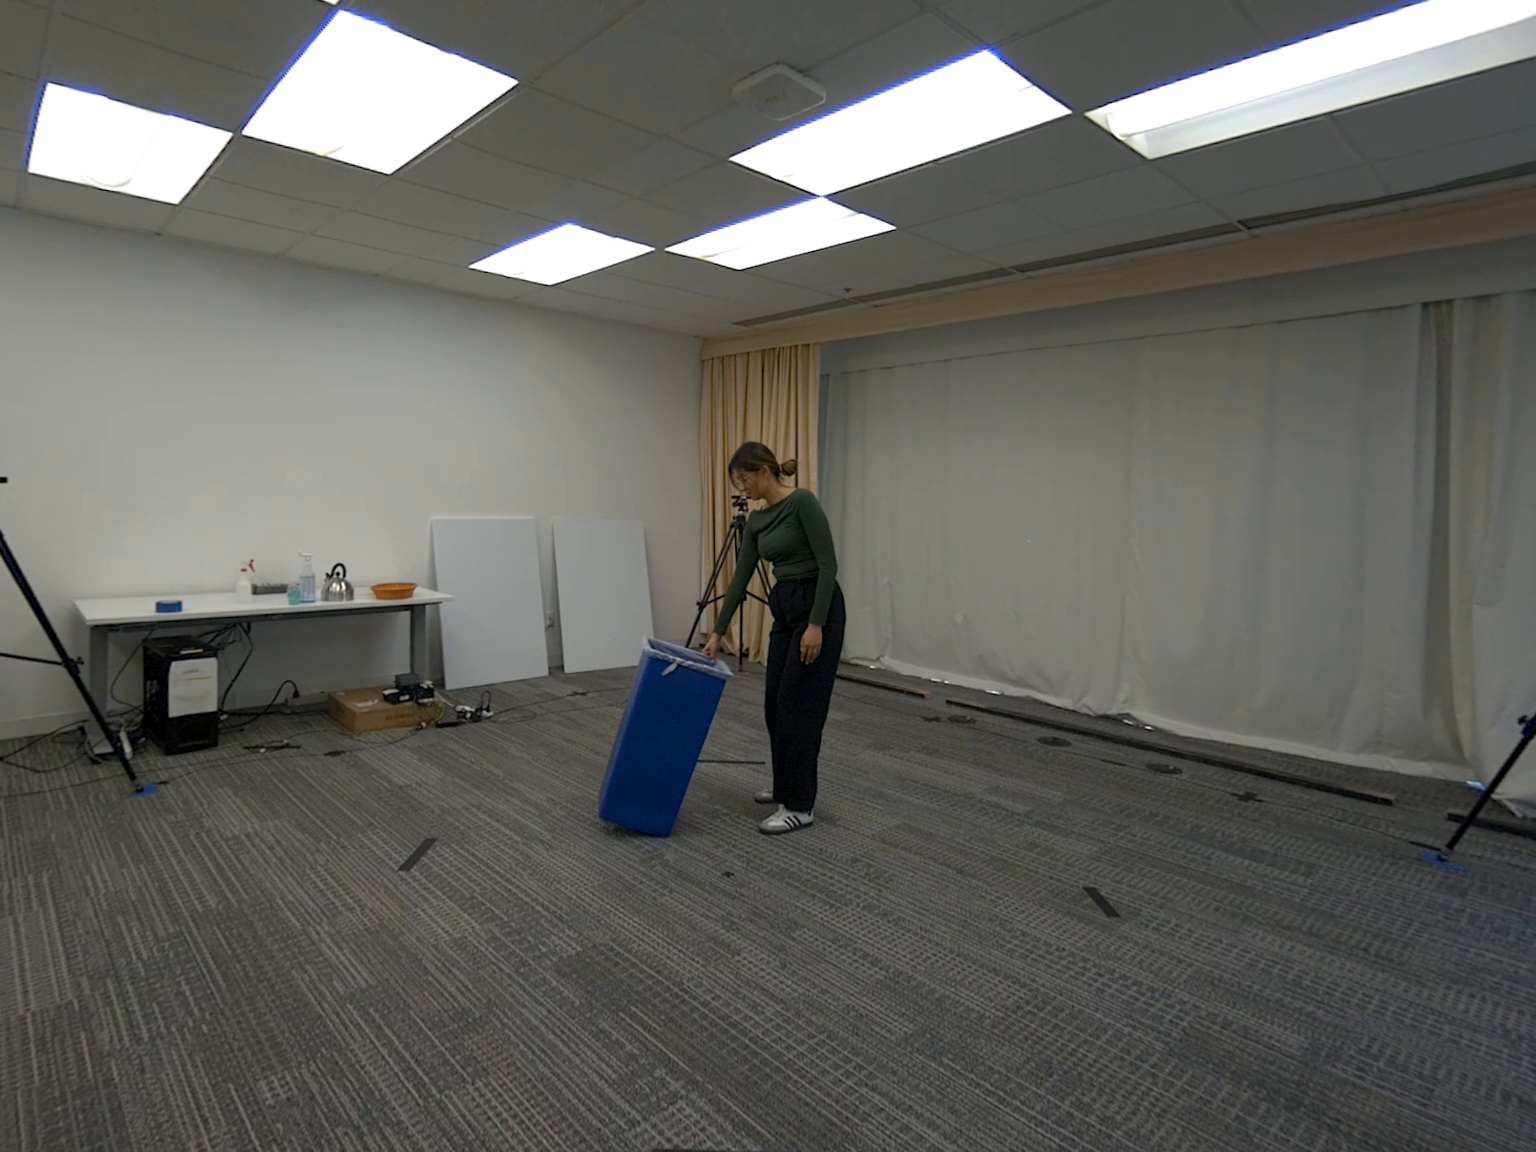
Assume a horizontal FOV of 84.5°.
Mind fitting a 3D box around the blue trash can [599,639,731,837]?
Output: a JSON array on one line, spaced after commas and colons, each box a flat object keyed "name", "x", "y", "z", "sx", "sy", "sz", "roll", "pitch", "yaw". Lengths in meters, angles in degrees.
[{"name": "blue trash can", "x": -0.467, "y": 0.670, "z": 3.545, "sx": 0.370, "sy": 0.714, "sz": 0.382, "roll": 19, "pitch": -1, "yaw": -11}]
